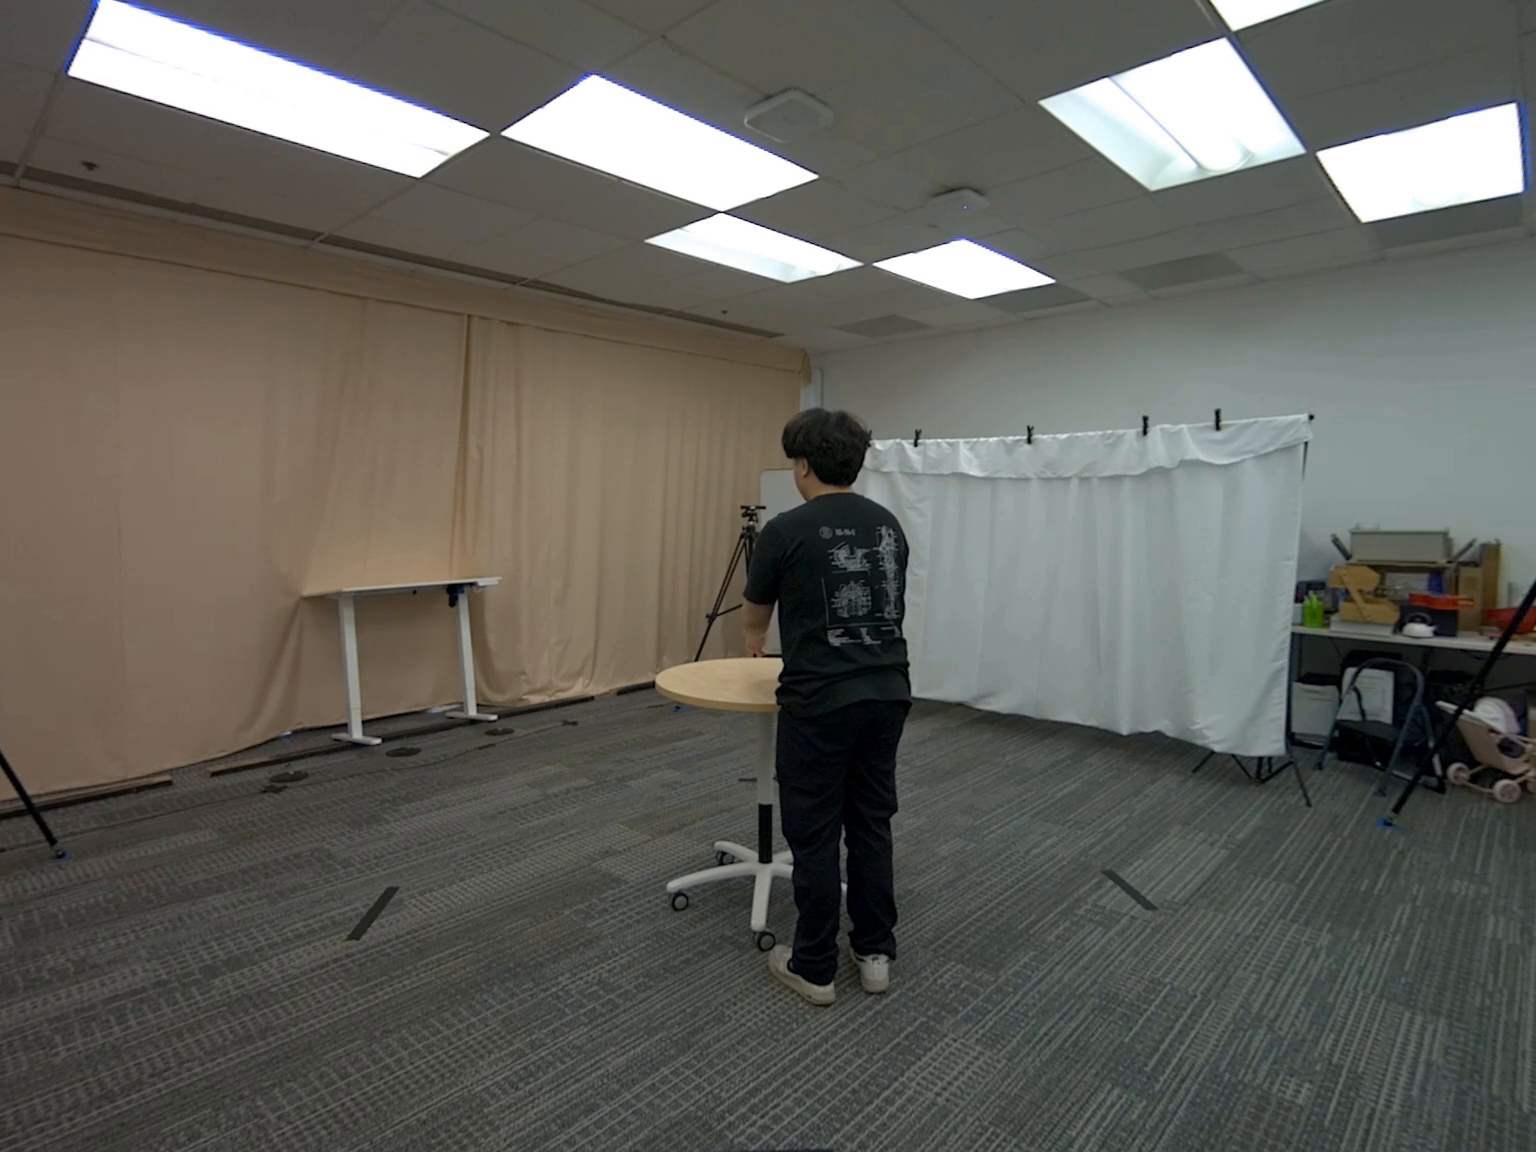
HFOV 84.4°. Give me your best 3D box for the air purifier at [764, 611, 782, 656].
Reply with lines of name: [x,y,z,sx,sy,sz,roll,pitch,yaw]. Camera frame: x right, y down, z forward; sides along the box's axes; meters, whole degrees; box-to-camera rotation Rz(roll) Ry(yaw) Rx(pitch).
air purifier: [0.030,0.121,2.843,0.167,0.264,0.176,-1,8,-24]
